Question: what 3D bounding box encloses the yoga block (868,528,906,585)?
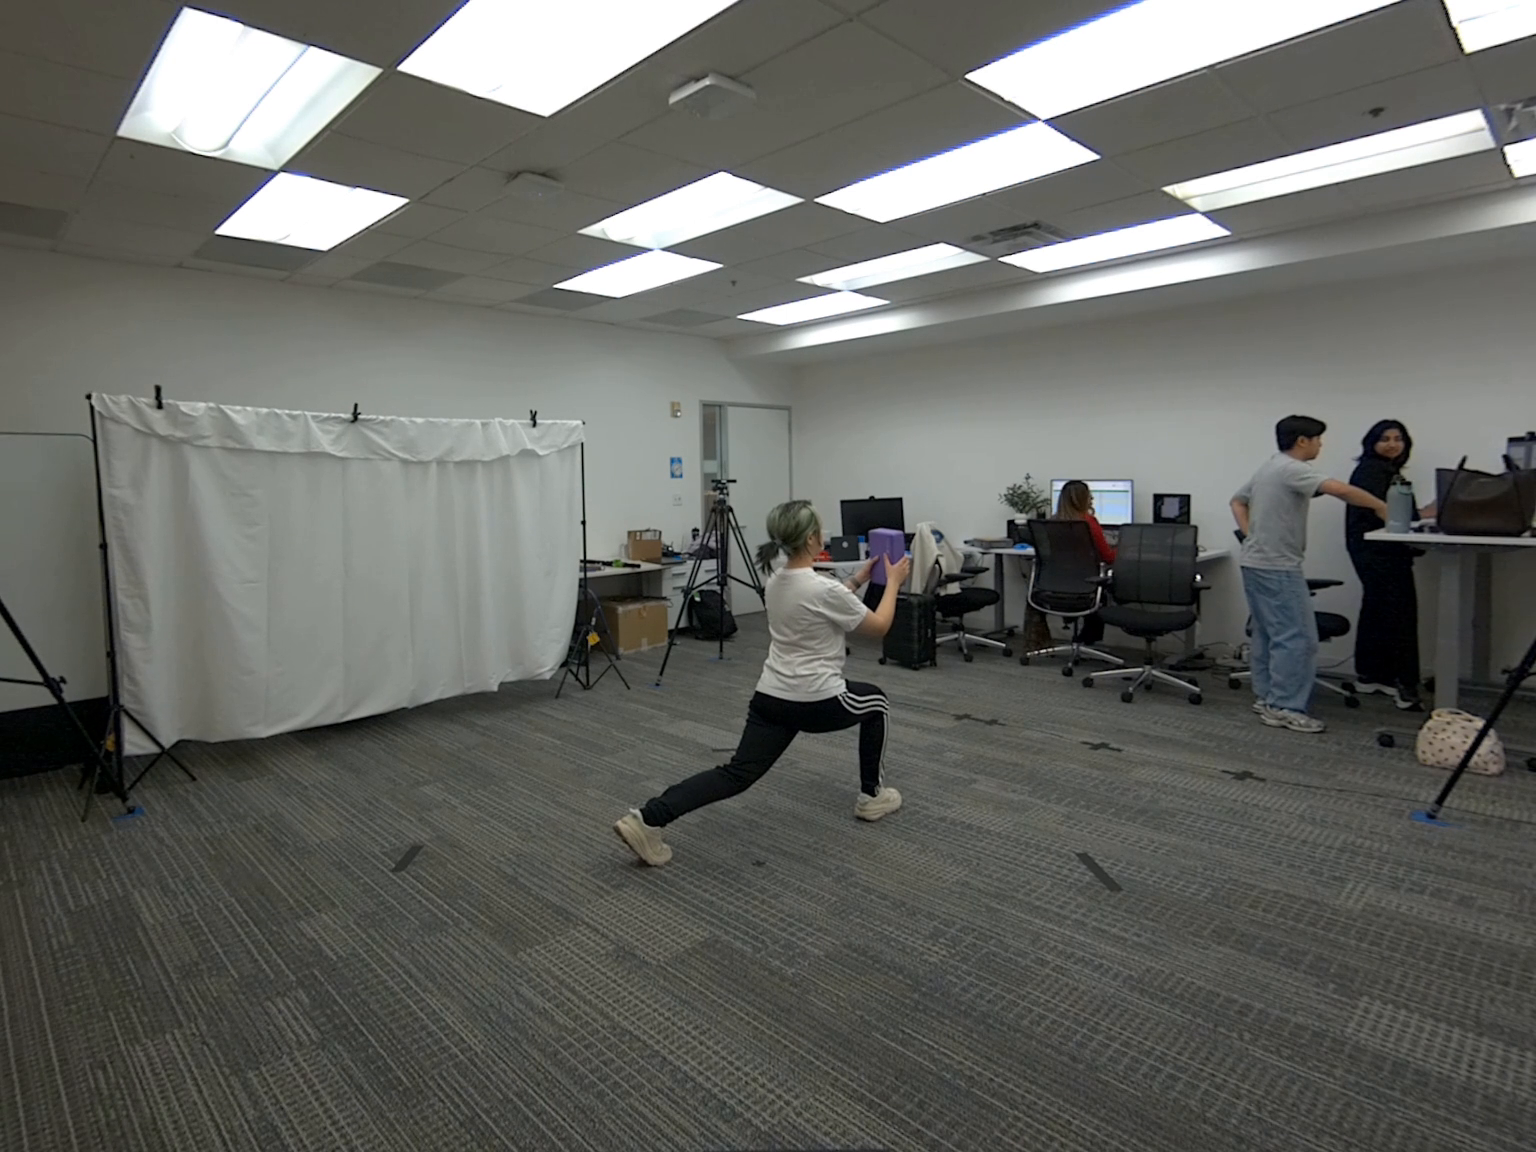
[{"bbox_3d":[0.510,-0.076,3.606,0.075,0.227,0.154,-9,12,-32],"label":"yoga block"}]
